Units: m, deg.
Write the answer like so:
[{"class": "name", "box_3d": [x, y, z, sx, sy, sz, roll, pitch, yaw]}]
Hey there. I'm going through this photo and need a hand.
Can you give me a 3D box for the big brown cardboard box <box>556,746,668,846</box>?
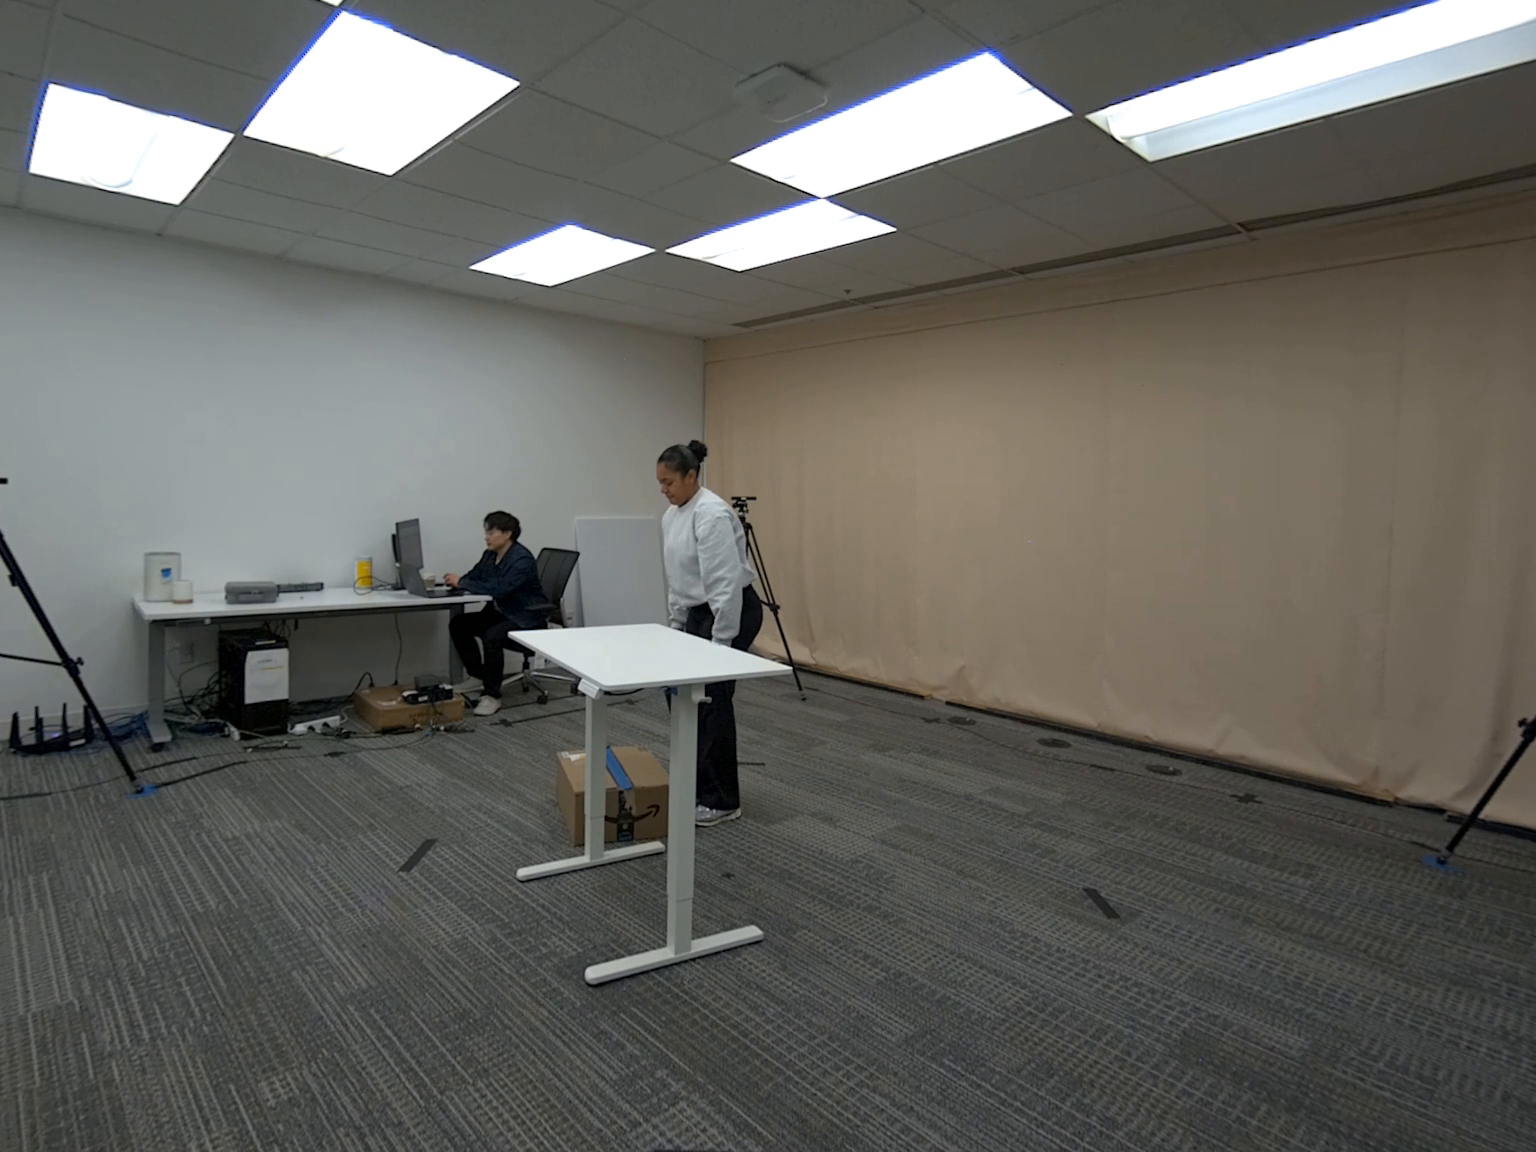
[{"class": "big brown cardboard box", "box_3d": [-0.683, 0.936, 3.653, 0.411, 0.232, 0.600, 0, 6, -20]}]
